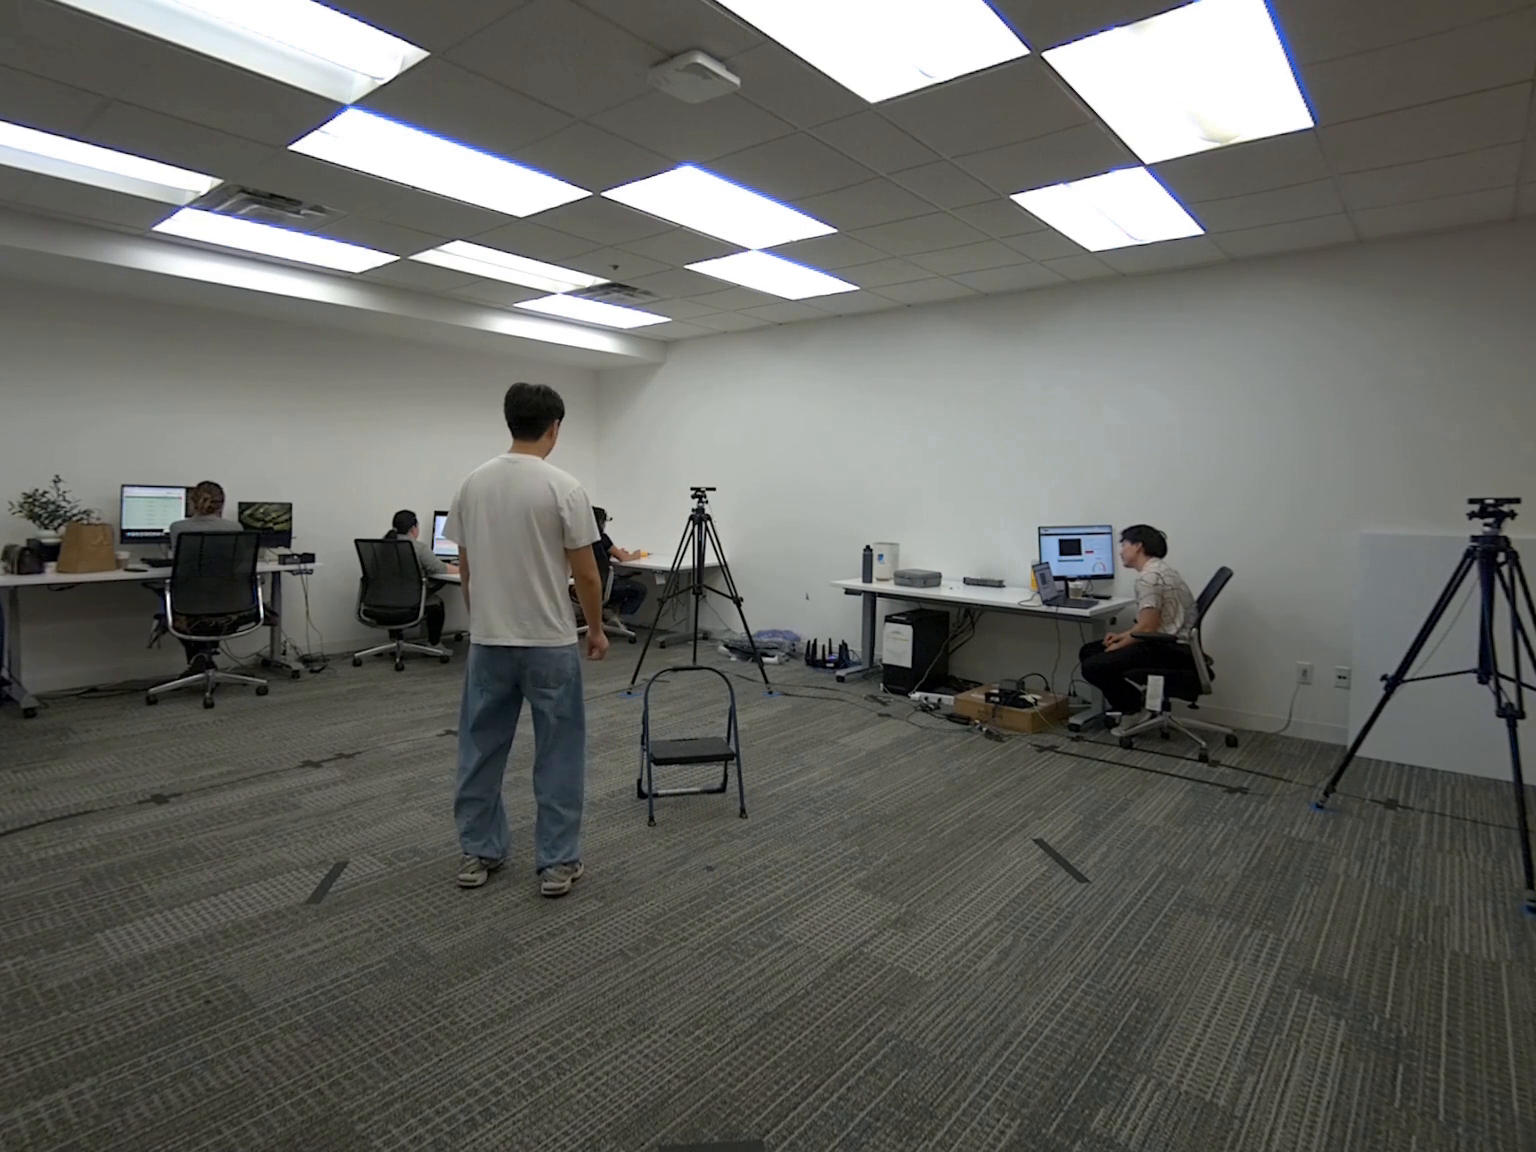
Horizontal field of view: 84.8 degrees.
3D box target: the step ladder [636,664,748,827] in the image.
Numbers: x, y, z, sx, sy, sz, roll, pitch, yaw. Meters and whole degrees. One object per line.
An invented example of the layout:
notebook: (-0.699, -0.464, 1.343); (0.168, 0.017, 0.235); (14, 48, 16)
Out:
step ladder: (-0.343, 0.706, 3.694); (0.423, 0.604, 0.356); (0, 3, -17)
